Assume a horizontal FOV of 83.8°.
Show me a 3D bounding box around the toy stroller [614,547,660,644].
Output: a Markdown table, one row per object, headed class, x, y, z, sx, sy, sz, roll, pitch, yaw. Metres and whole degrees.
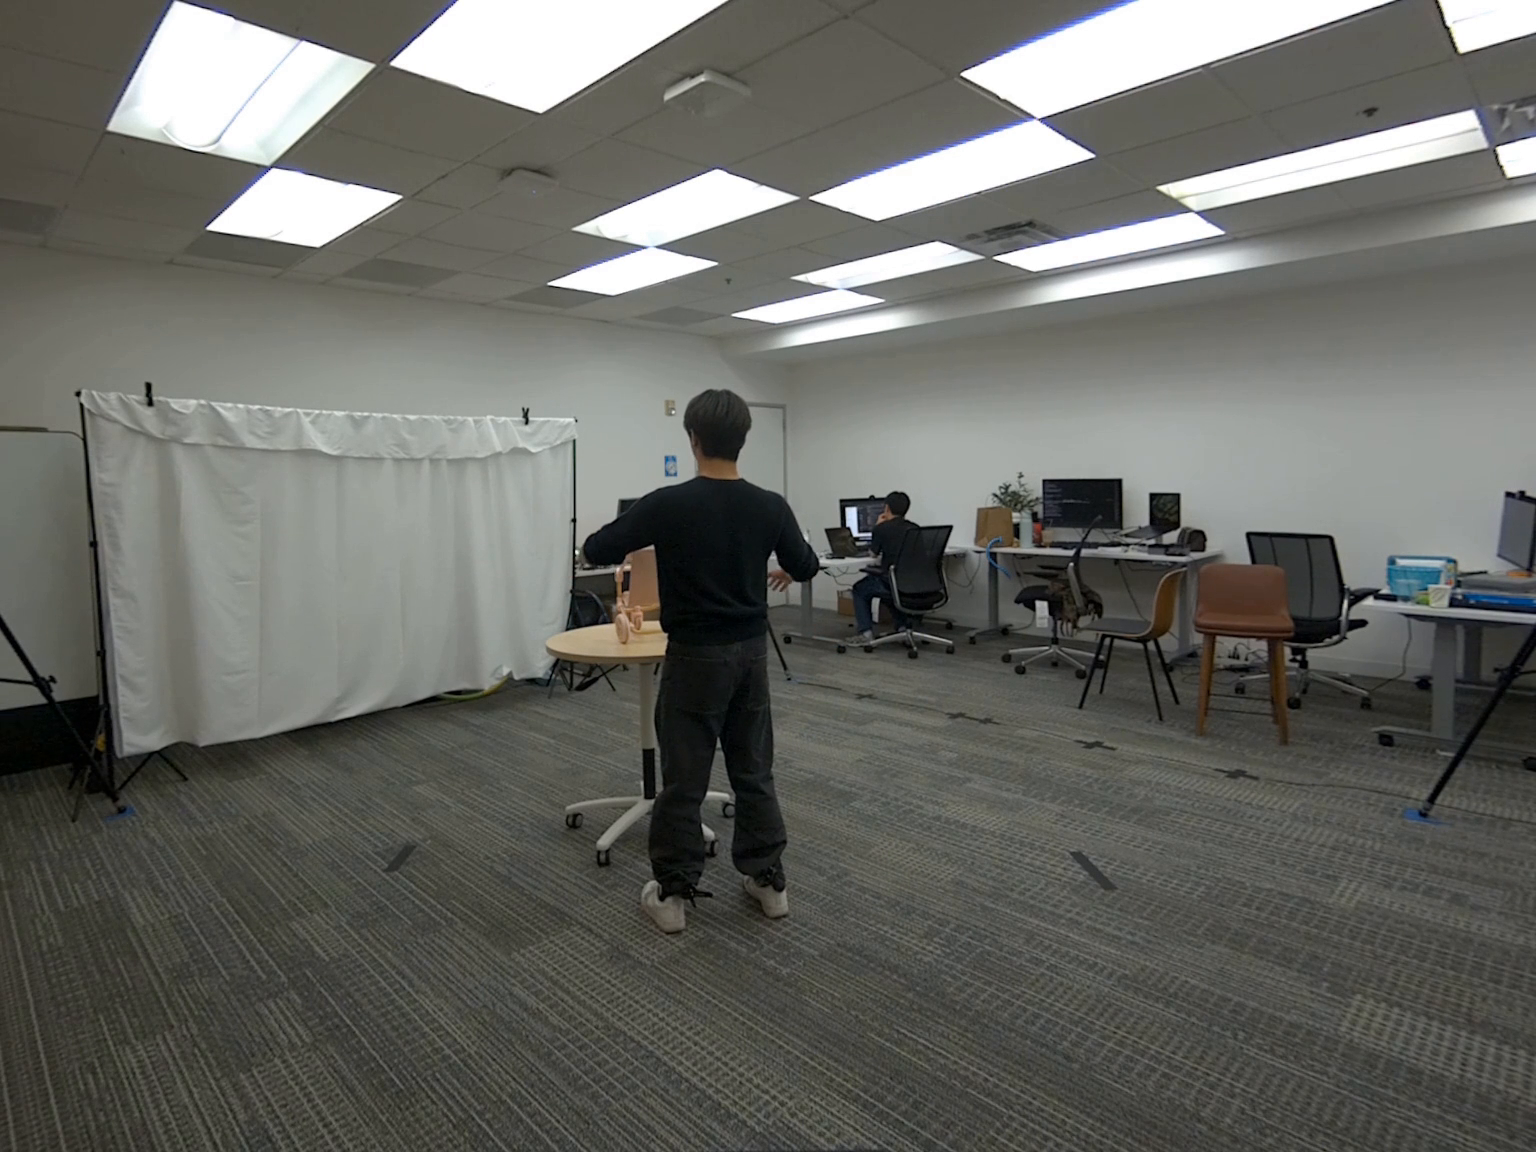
| class | x | y | z | sx | sy | sz | roll | pitch | yaw |
| --- | --- | --- | --- | --- | --- | --- | --- | --- | --- |
| toy stroller | -0.463 | 0.017 | 3.327 | 0.277 | 0.527 | 0.352 | -3 | 21 | -19 |
